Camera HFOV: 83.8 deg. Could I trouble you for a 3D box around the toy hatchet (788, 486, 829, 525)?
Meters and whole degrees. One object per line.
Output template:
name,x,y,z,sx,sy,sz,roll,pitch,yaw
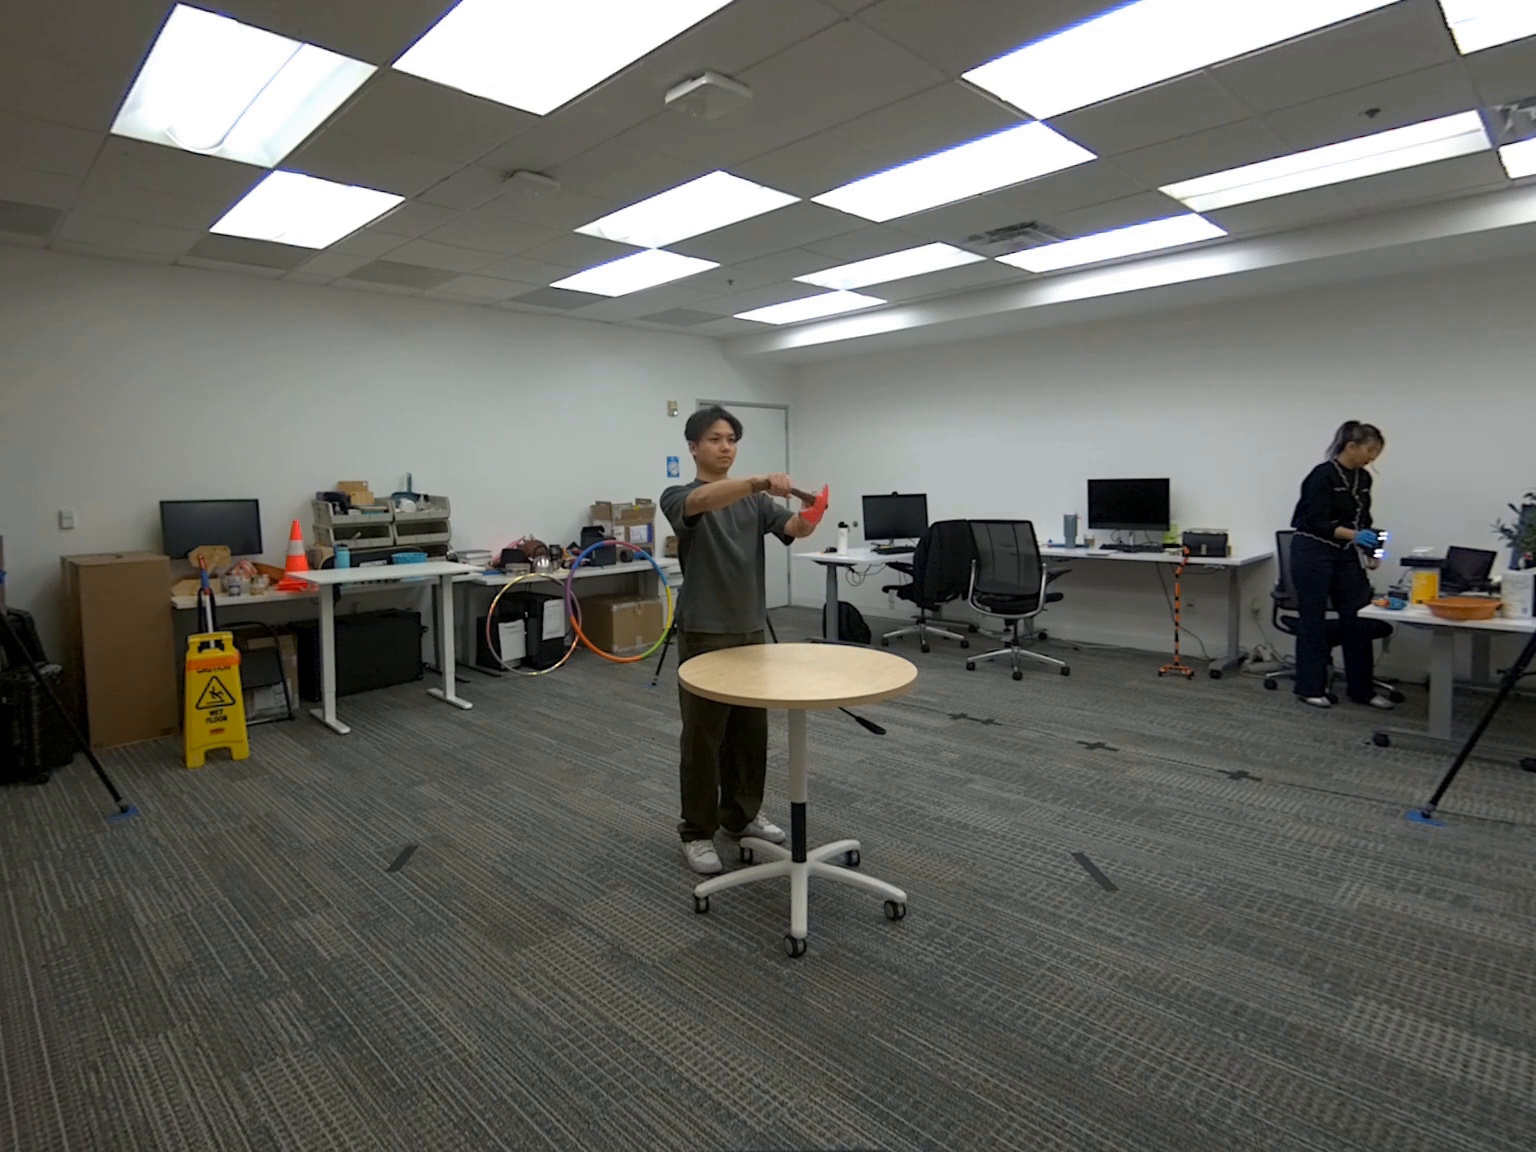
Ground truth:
toy hatchet,0.064,-0.235,2.709,0.266,0.130,0.030,-2,11,-17
